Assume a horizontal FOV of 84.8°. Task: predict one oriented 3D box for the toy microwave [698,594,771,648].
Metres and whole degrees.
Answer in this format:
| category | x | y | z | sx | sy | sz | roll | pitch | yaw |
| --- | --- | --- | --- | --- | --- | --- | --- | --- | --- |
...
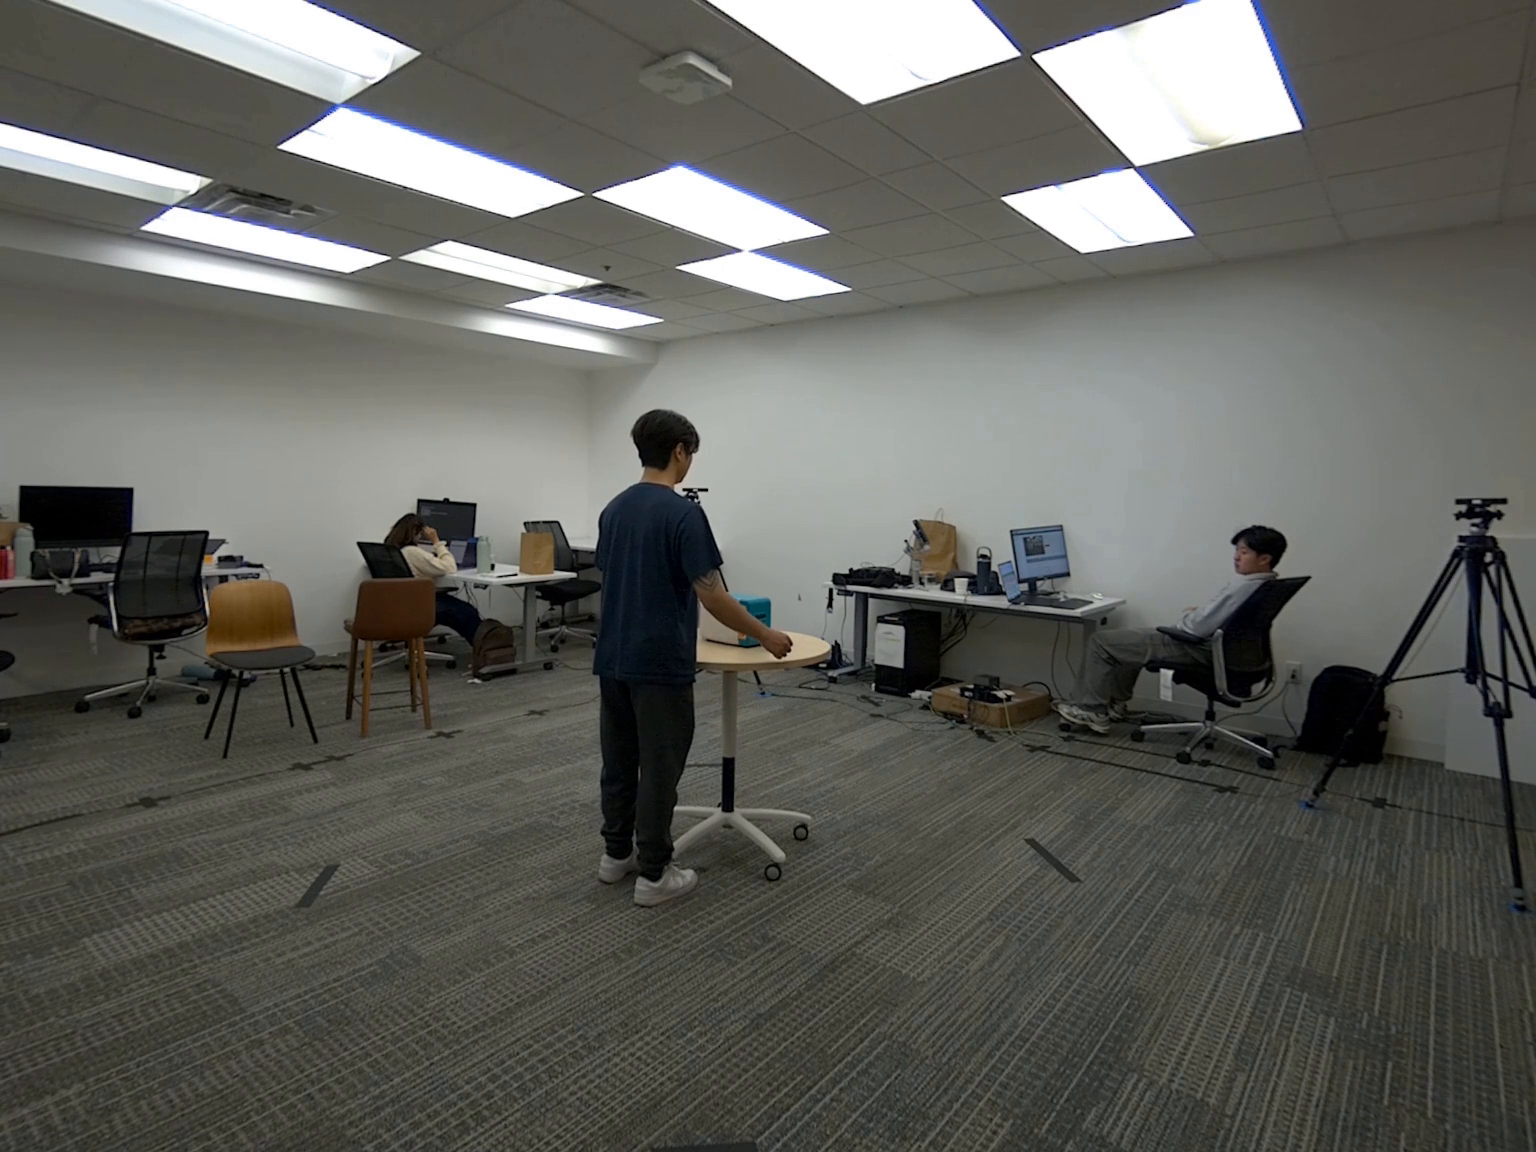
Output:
| category | x | y | z | sx | sy | sz | roll | pitch | yaw |
| --- | --- | --- | --- | --- | --- | --- | --- | --- | --- |
| toy microwave | -0.148 | 0.165 | 3.306 | 0.296 | 0.183 | 0.148 | 5 | 6 | 44 |
